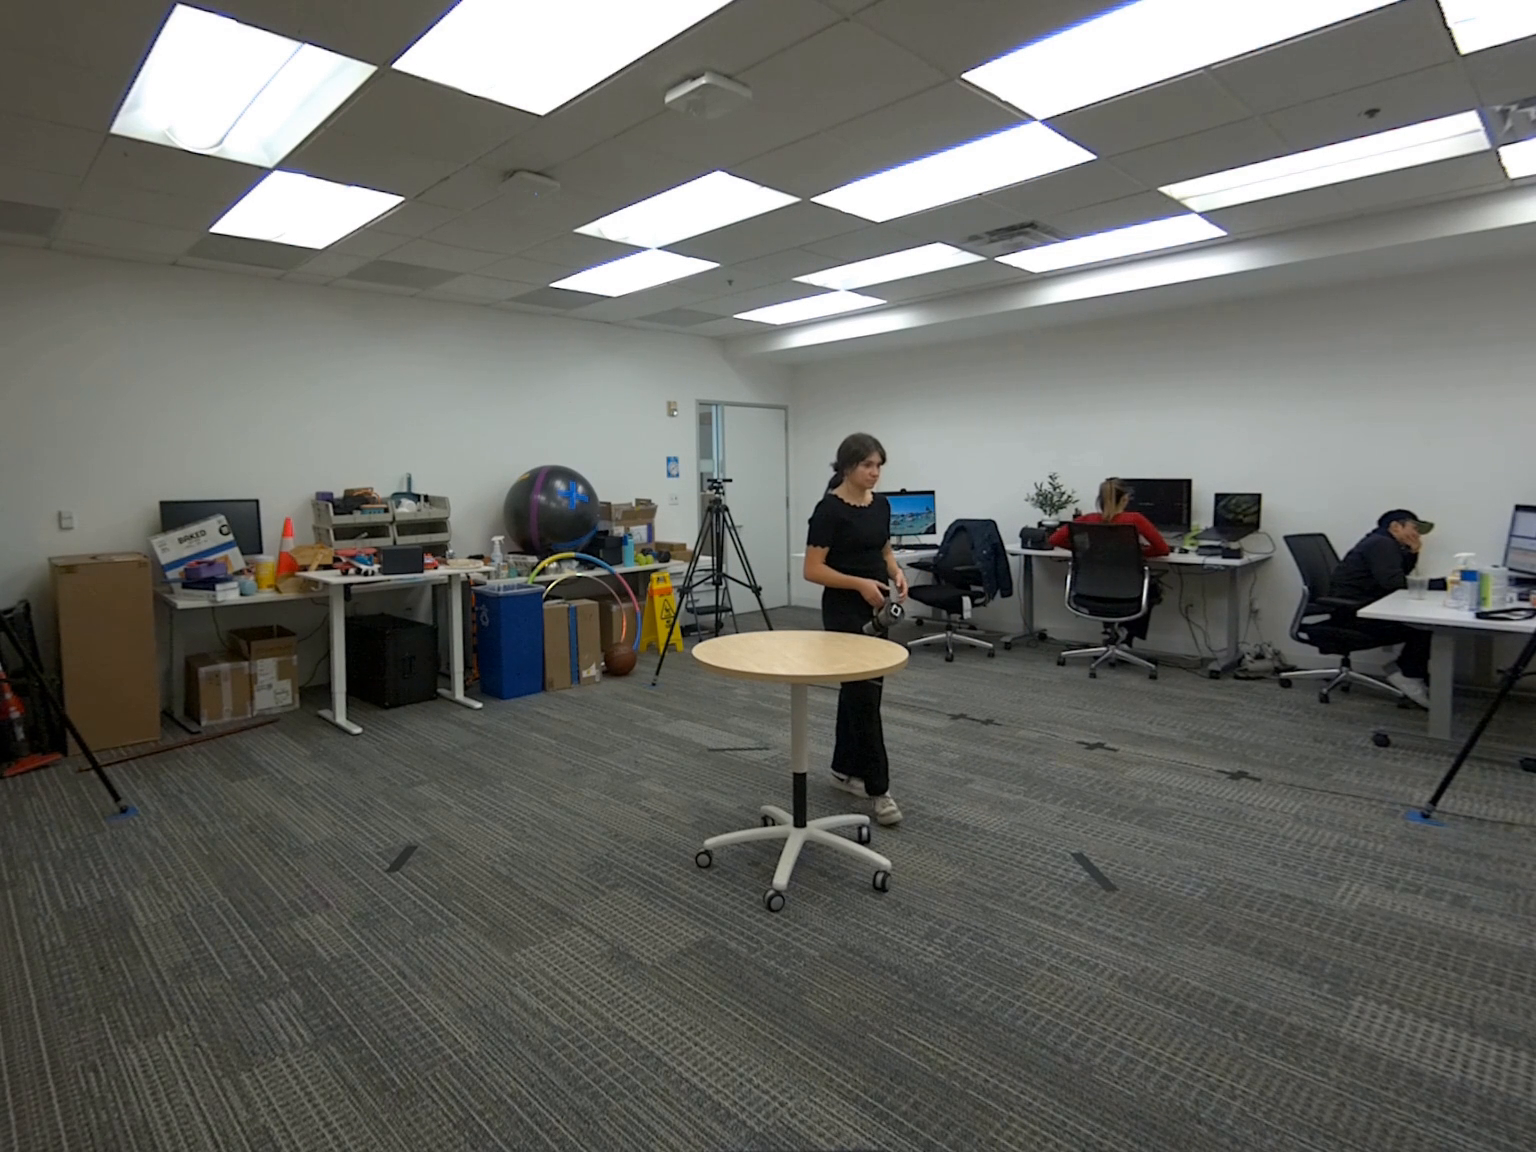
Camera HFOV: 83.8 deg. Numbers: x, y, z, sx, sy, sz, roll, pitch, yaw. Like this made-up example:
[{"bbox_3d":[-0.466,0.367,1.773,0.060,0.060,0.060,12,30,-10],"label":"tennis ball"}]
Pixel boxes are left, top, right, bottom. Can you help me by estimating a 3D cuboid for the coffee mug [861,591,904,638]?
[{"bbox_3d":[0.486,0.168,3.500,0.087,0.124,0.202,25,-34,-9],"label":"coffee mug"}]
